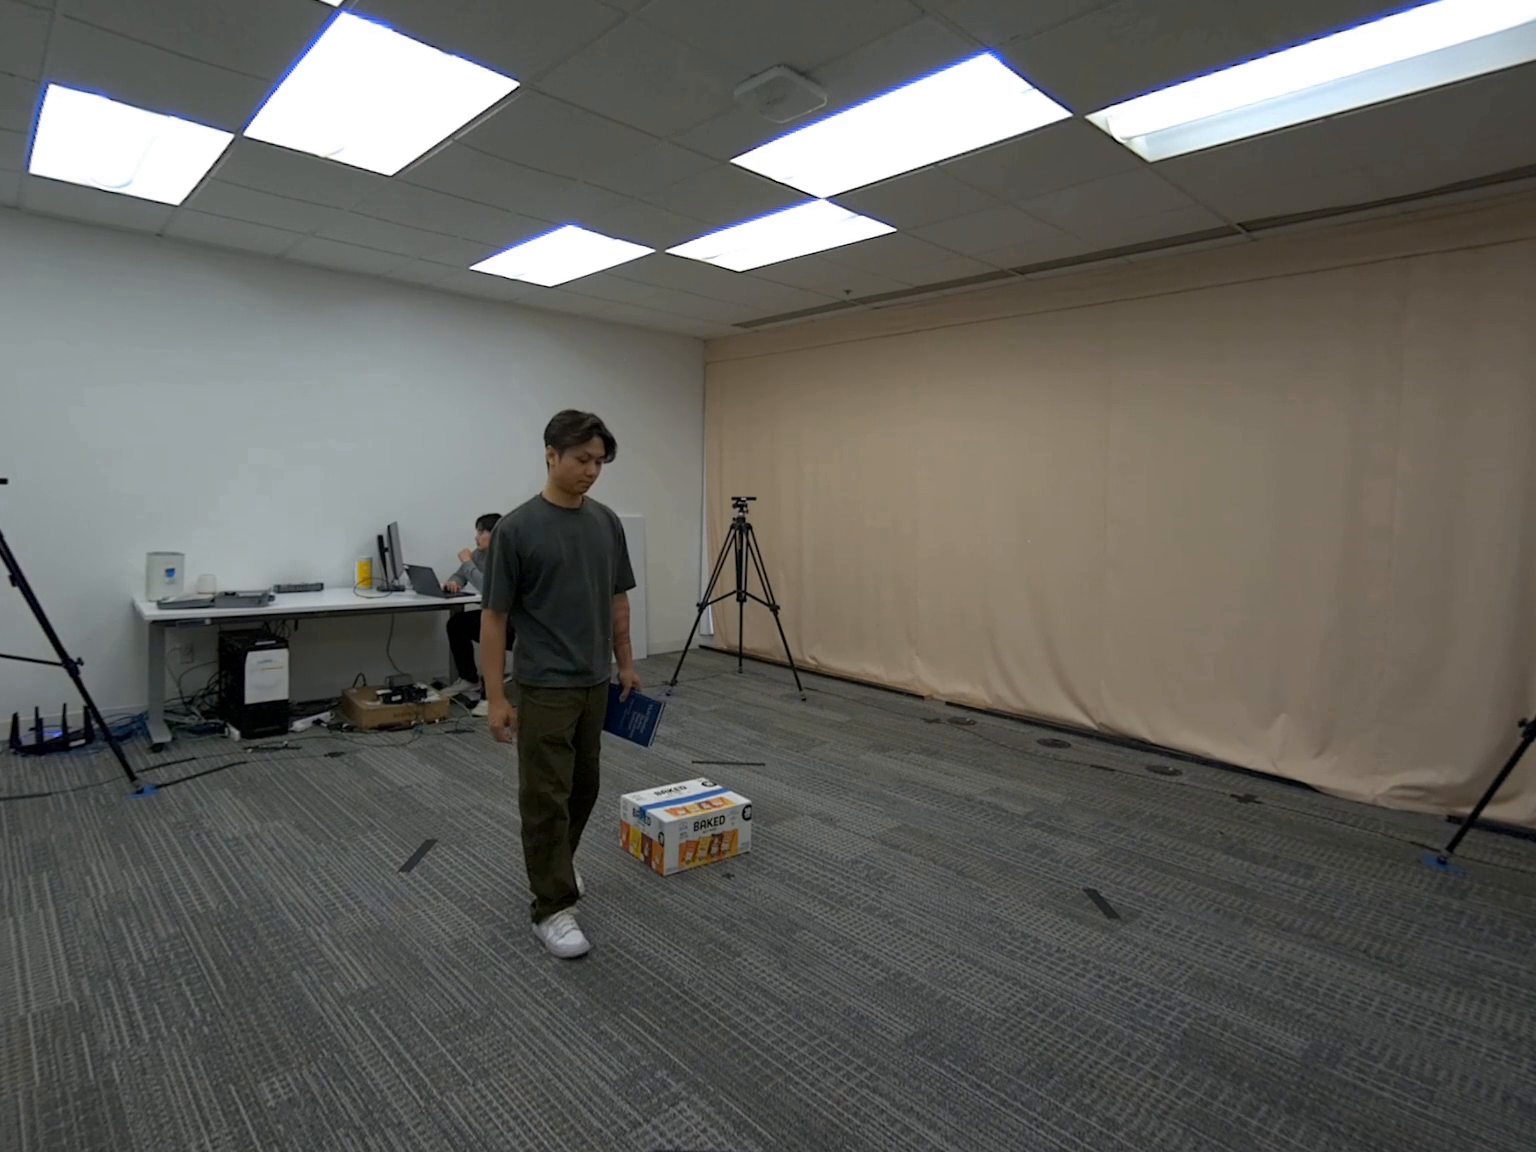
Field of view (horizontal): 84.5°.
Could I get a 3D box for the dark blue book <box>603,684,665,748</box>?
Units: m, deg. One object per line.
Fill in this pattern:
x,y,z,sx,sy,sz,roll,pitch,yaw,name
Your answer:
-0.500,0.480,2.915,0.248,0.163,0.044,17,-1,14,dark blue book
